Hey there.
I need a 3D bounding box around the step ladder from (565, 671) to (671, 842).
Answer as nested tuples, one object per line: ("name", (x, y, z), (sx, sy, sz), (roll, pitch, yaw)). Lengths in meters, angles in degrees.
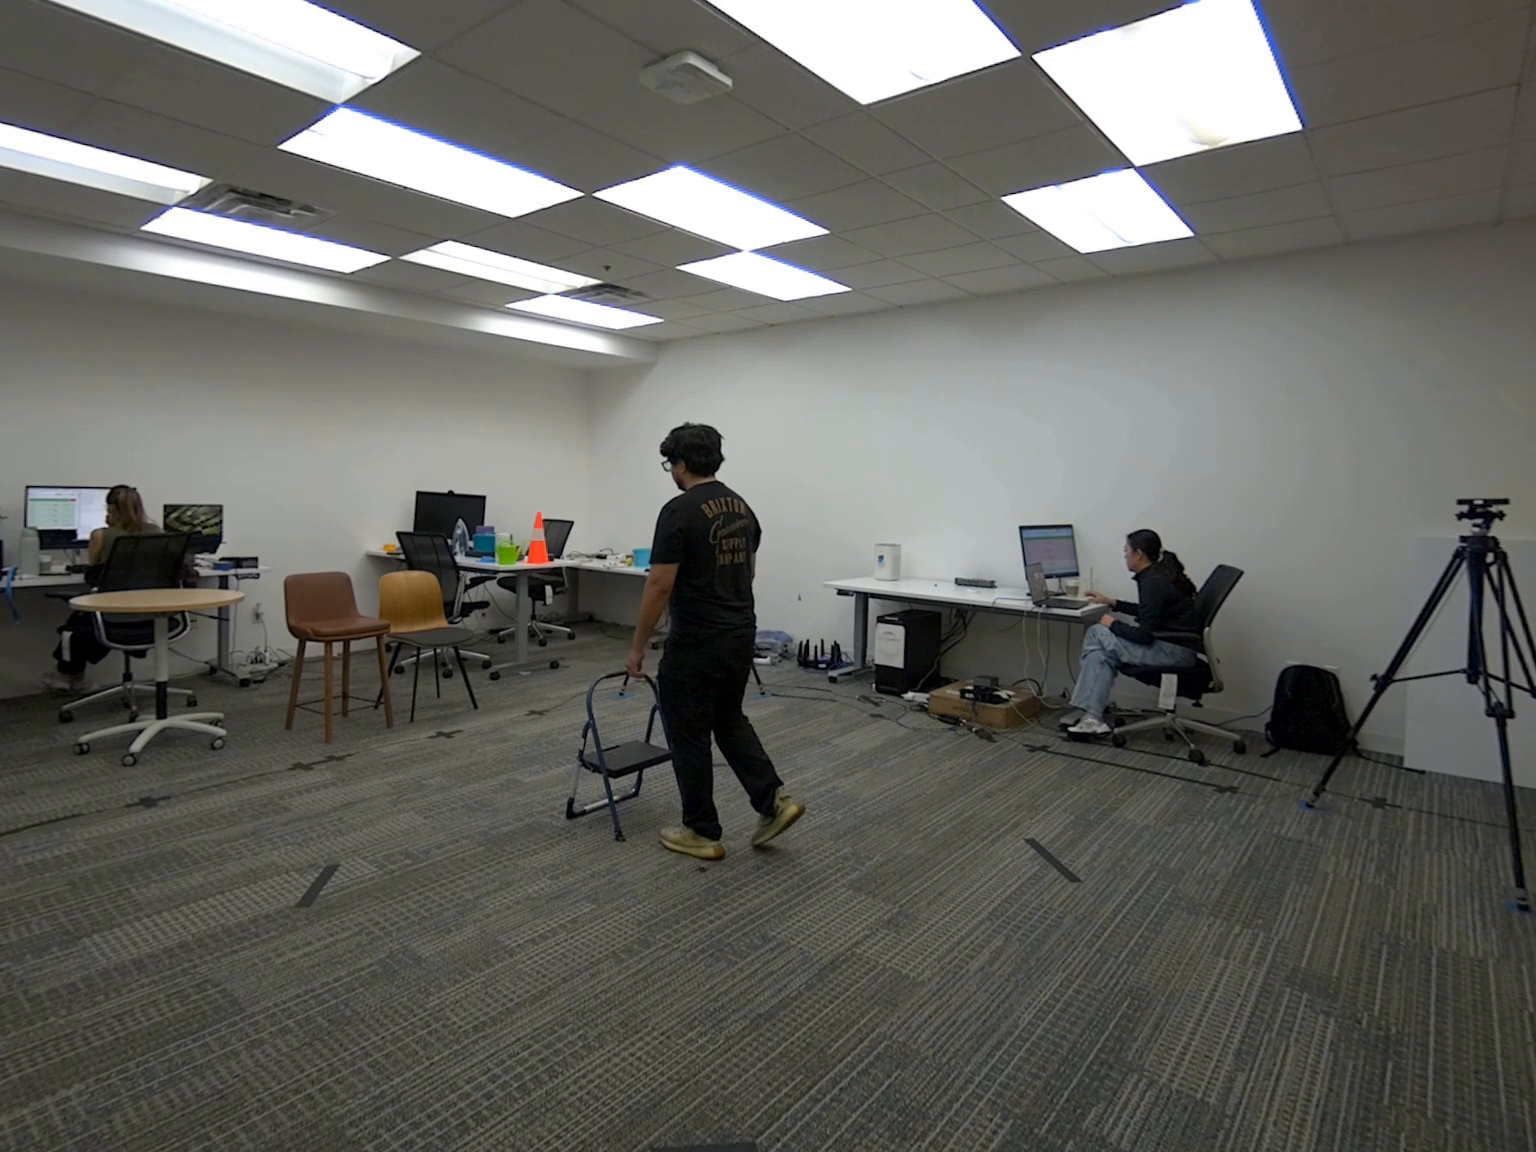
("step ladder", (-0.598, 0.714, 3.597), (0.361, 0.604, 0.418), (4, 4, 38))
